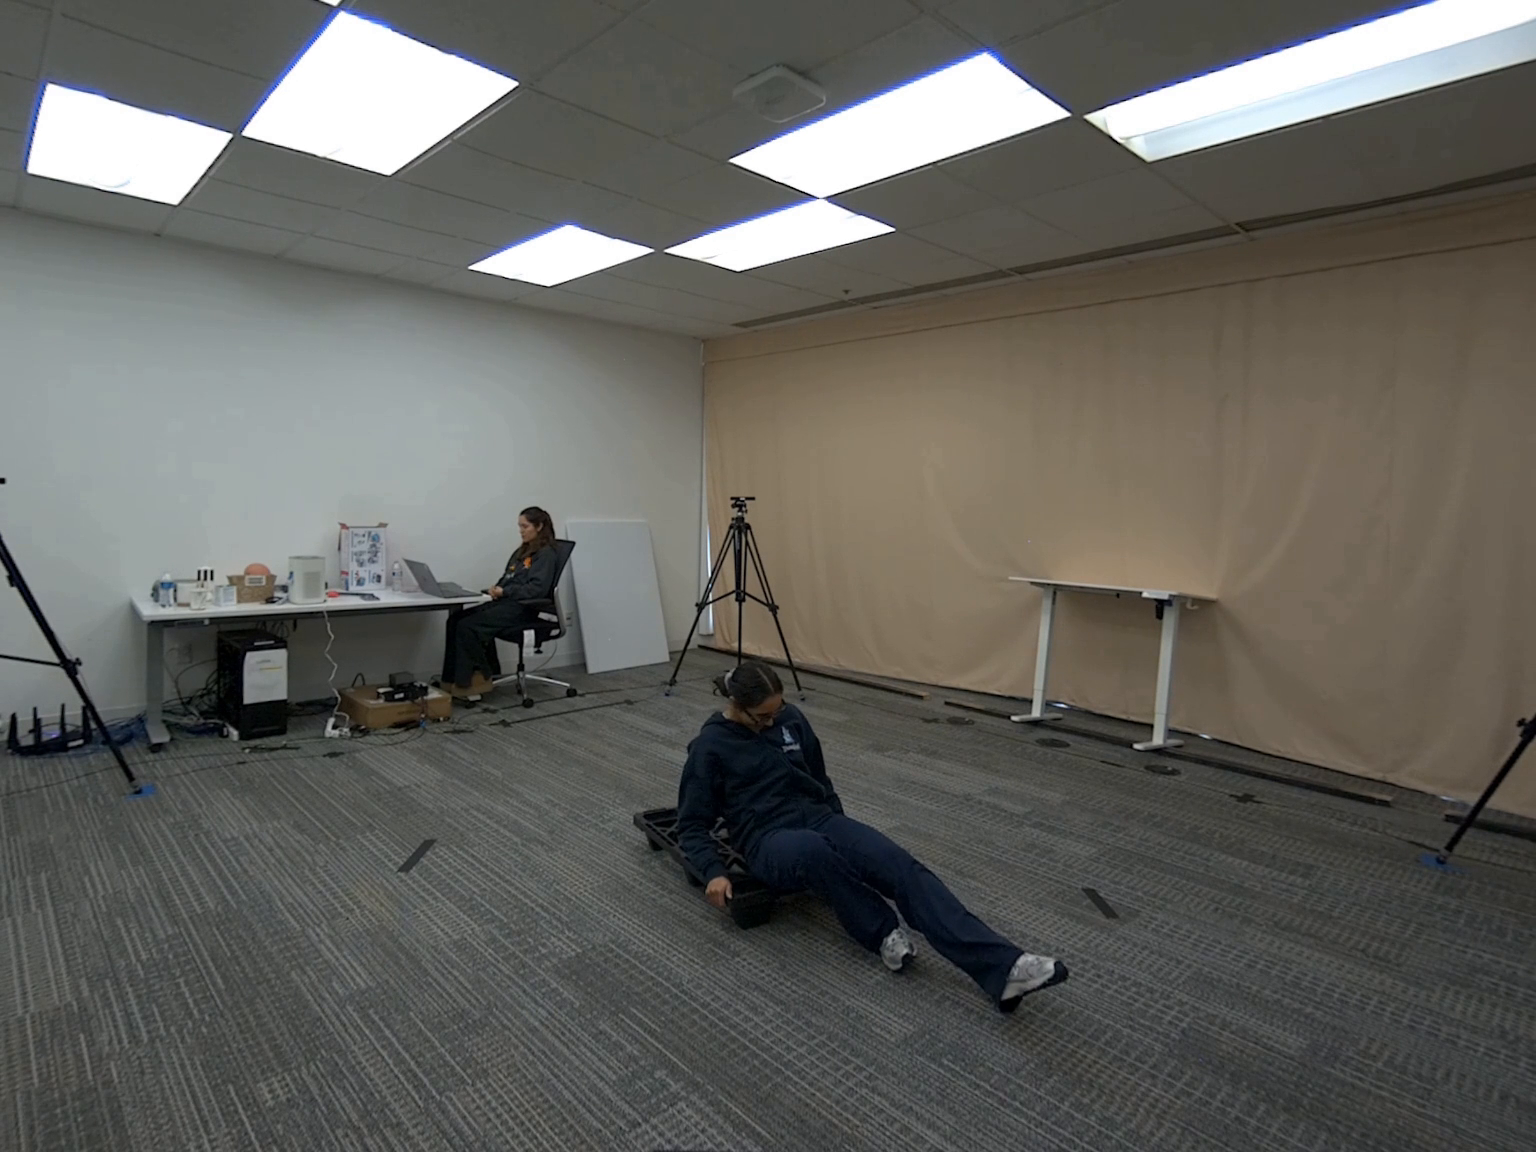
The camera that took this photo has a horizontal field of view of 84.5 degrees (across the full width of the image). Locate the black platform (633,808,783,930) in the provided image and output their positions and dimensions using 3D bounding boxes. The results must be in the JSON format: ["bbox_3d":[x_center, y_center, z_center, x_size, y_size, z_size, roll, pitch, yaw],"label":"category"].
[{"bbox_3d":[-0.088,1.041,3.150,0.593,0.143,0.824,-1,6,-30],"label":"black platform"}]
